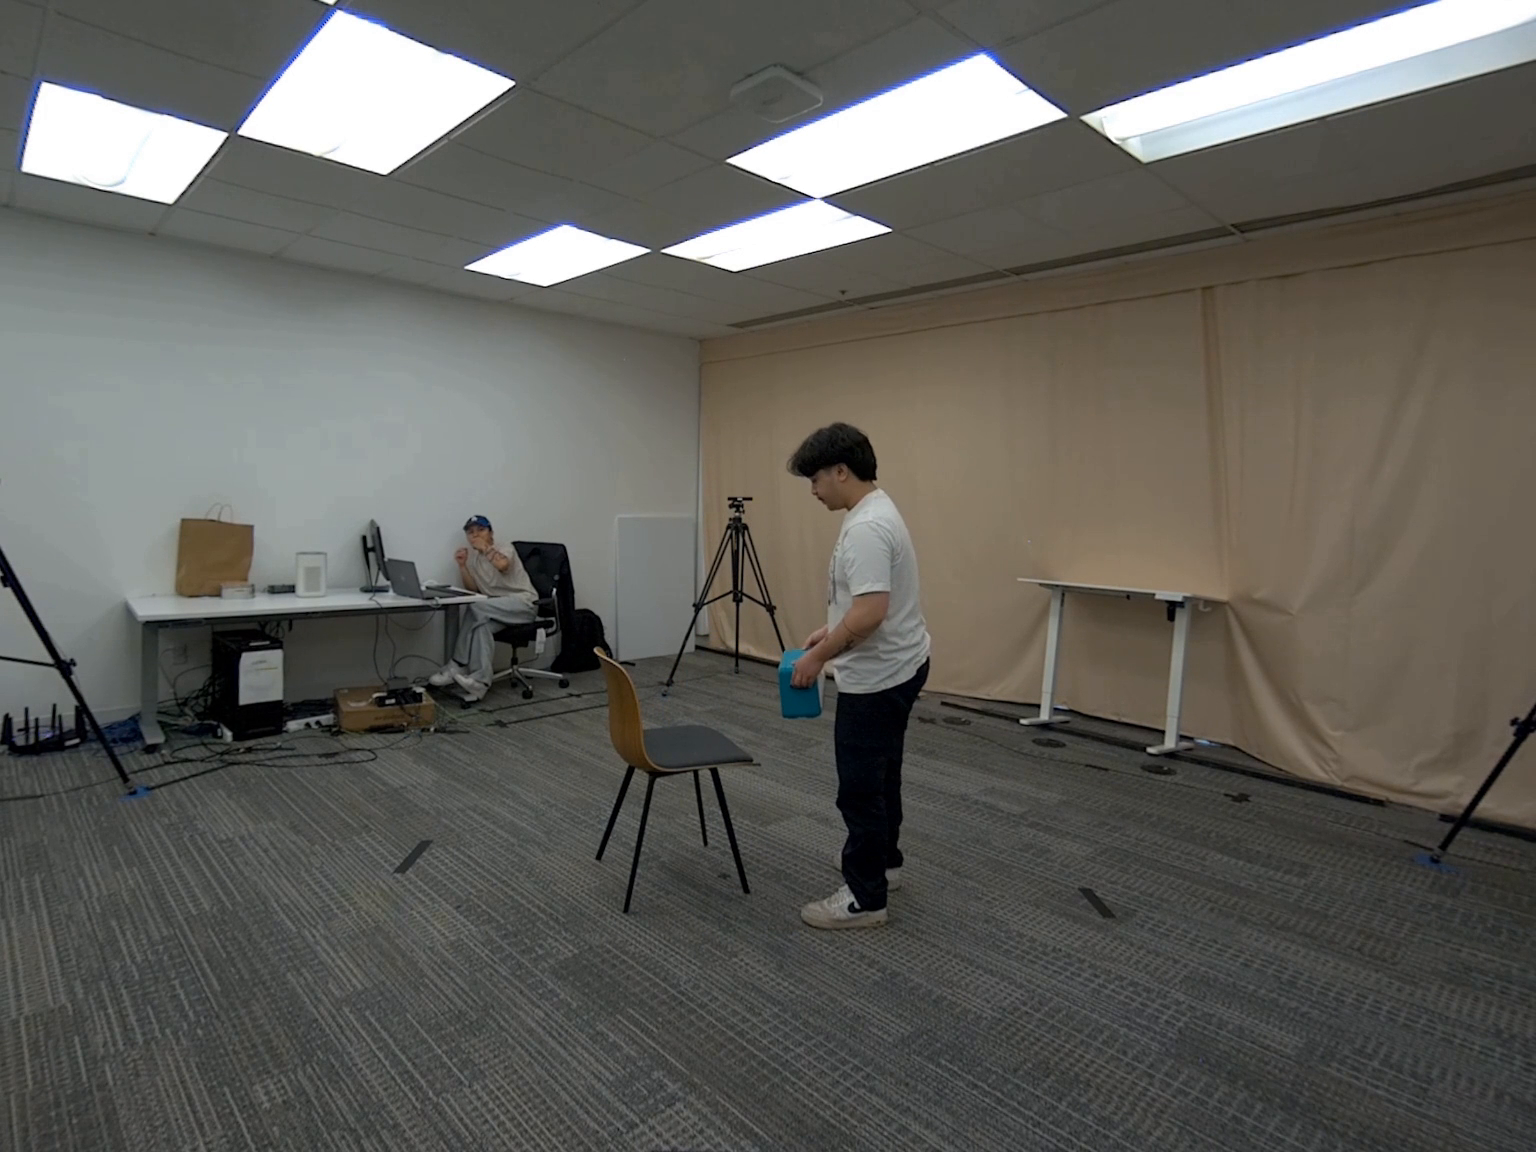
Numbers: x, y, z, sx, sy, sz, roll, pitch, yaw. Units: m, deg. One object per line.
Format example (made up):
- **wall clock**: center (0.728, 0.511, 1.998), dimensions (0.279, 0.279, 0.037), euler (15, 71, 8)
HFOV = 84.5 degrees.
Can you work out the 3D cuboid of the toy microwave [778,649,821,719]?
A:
- **toy microwave**: center (0.117, 0.372, 2.908), dimensions (0.153, 0.183, 0.285), euler (-2, 7, 8)
